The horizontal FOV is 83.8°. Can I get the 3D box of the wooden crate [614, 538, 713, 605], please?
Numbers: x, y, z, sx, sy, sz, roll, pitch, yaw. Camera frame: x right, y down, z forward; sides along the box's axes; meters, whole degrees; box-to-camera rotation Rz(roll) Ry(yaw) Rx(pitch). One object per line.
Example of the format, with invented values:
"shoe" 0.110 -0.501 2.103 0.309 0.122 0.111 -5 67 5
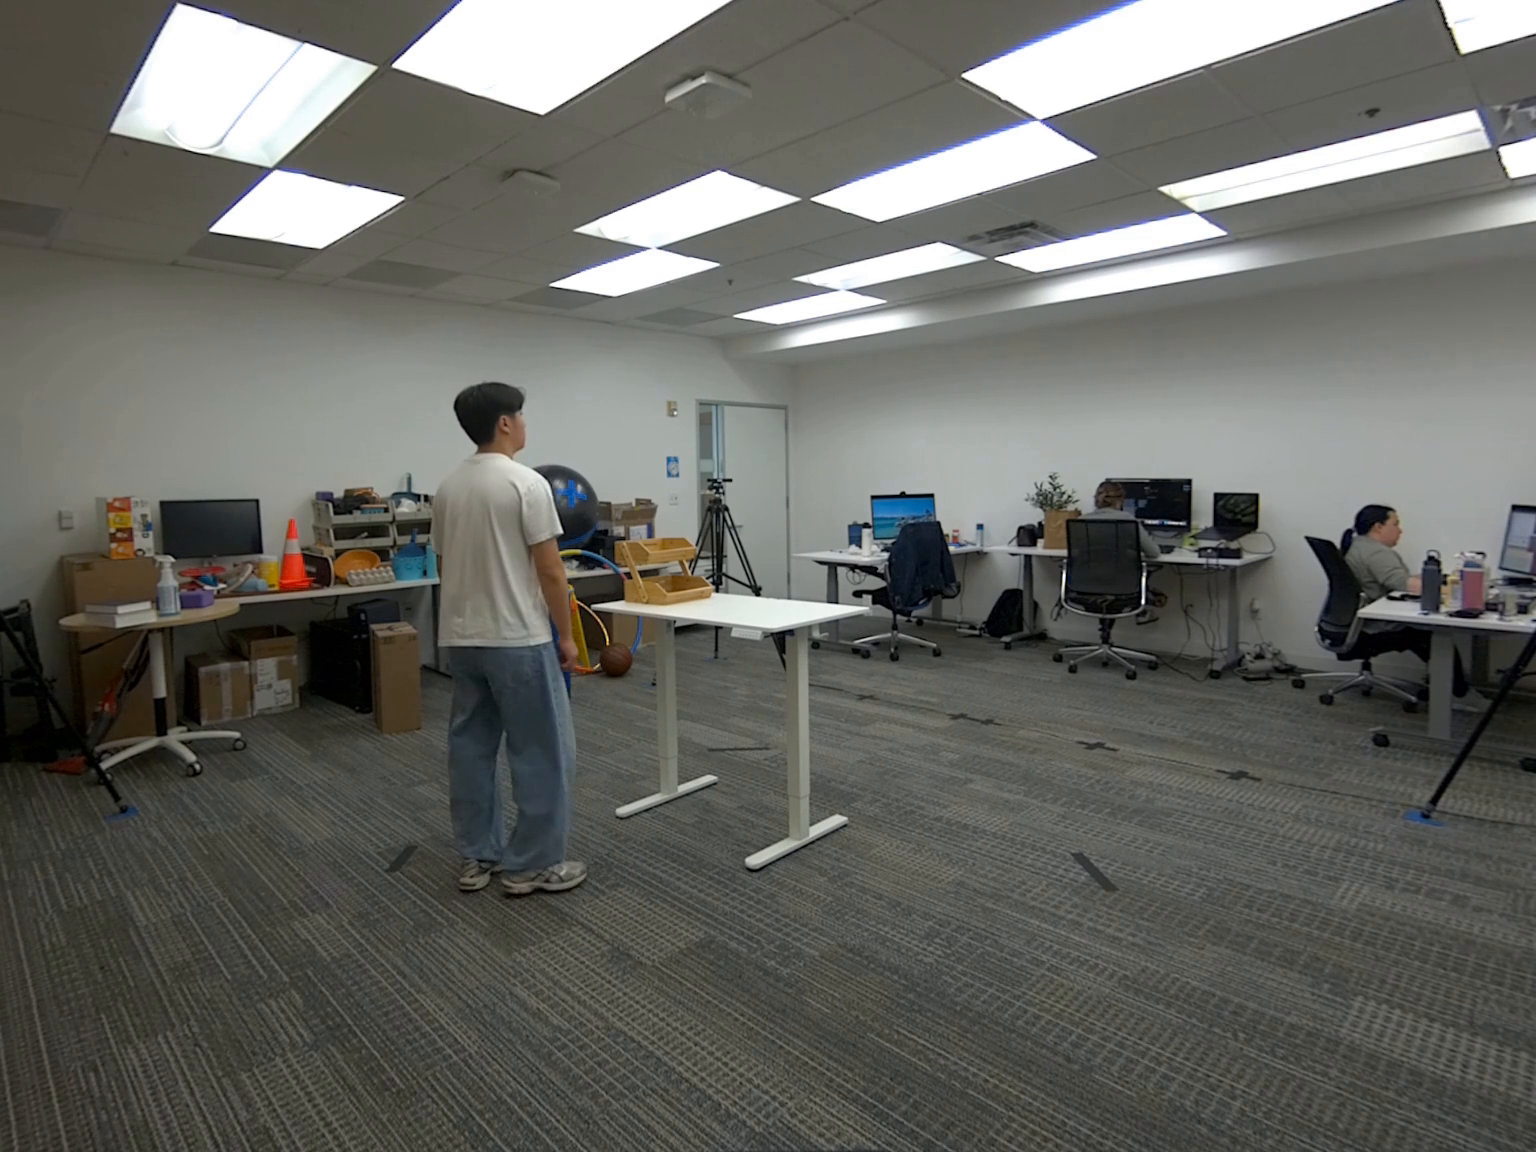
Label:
"wooden crate" -0.450 -0.029 3.725 0.311 0.272 0.316 1 5 37
